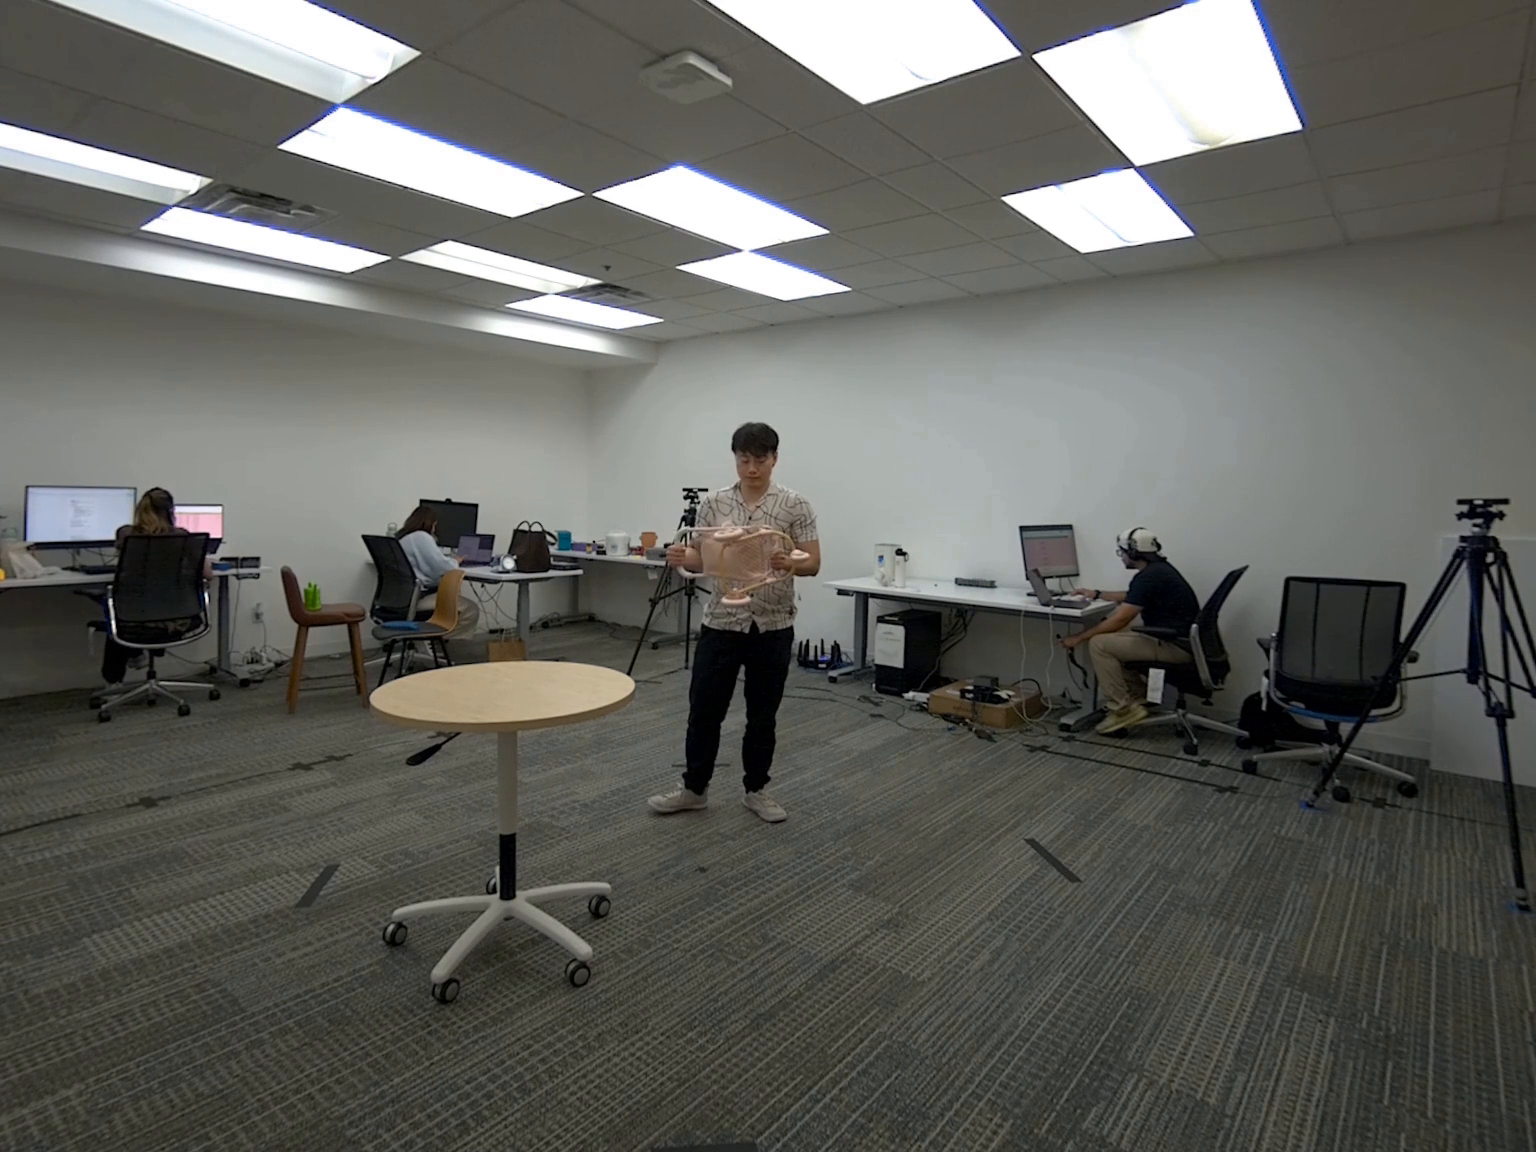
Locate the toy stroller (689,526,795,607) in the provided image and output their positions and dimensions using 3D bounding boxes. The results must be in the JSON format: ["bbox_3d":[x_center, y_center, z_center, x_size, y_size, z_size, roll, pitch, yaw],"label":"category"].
[{"bbox_3d":[-0.128,-0.087,3.271,0.336,0.277,0.552,-18,16,-24],"label":"toy stroller"}]
